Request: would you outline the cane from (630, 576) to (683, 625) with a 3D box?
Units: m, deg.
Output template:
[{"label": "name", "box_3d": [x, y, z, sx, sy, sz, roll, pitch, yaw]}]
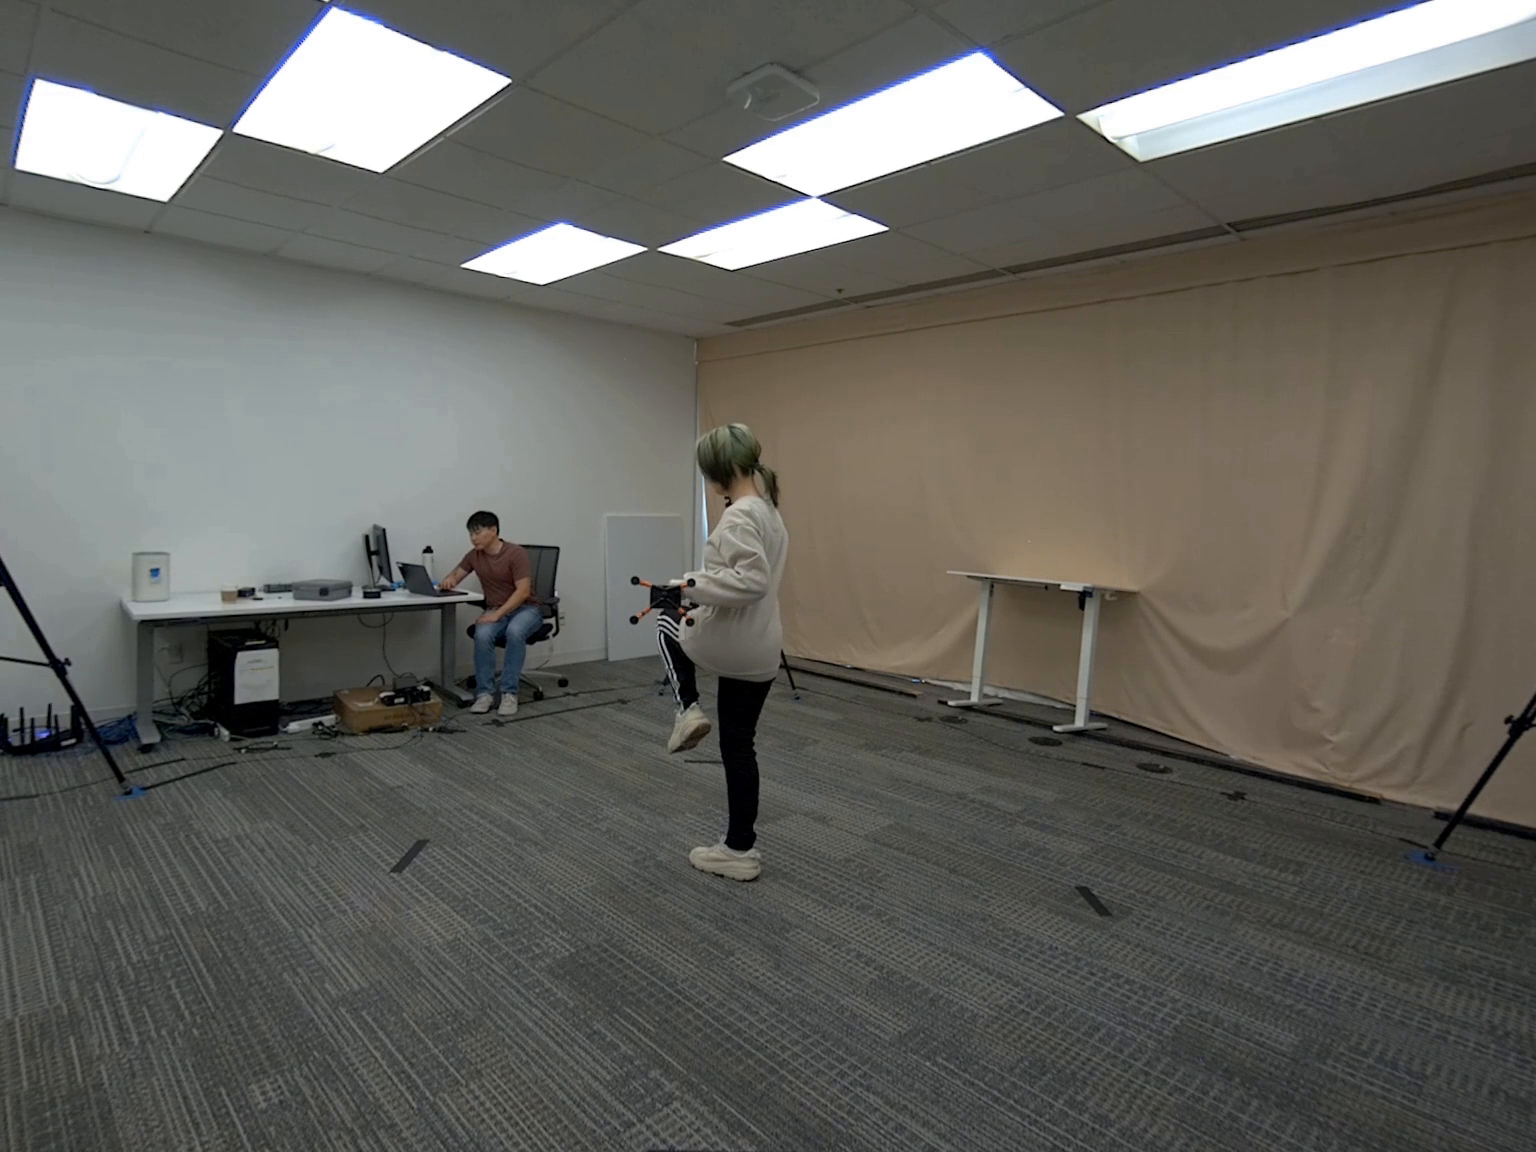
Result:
[{"label": "cane", "box_3d": [-0.349, 0.069, 3.087, 0.207, 0.151, 0.906, 2, 2, 1]}]
